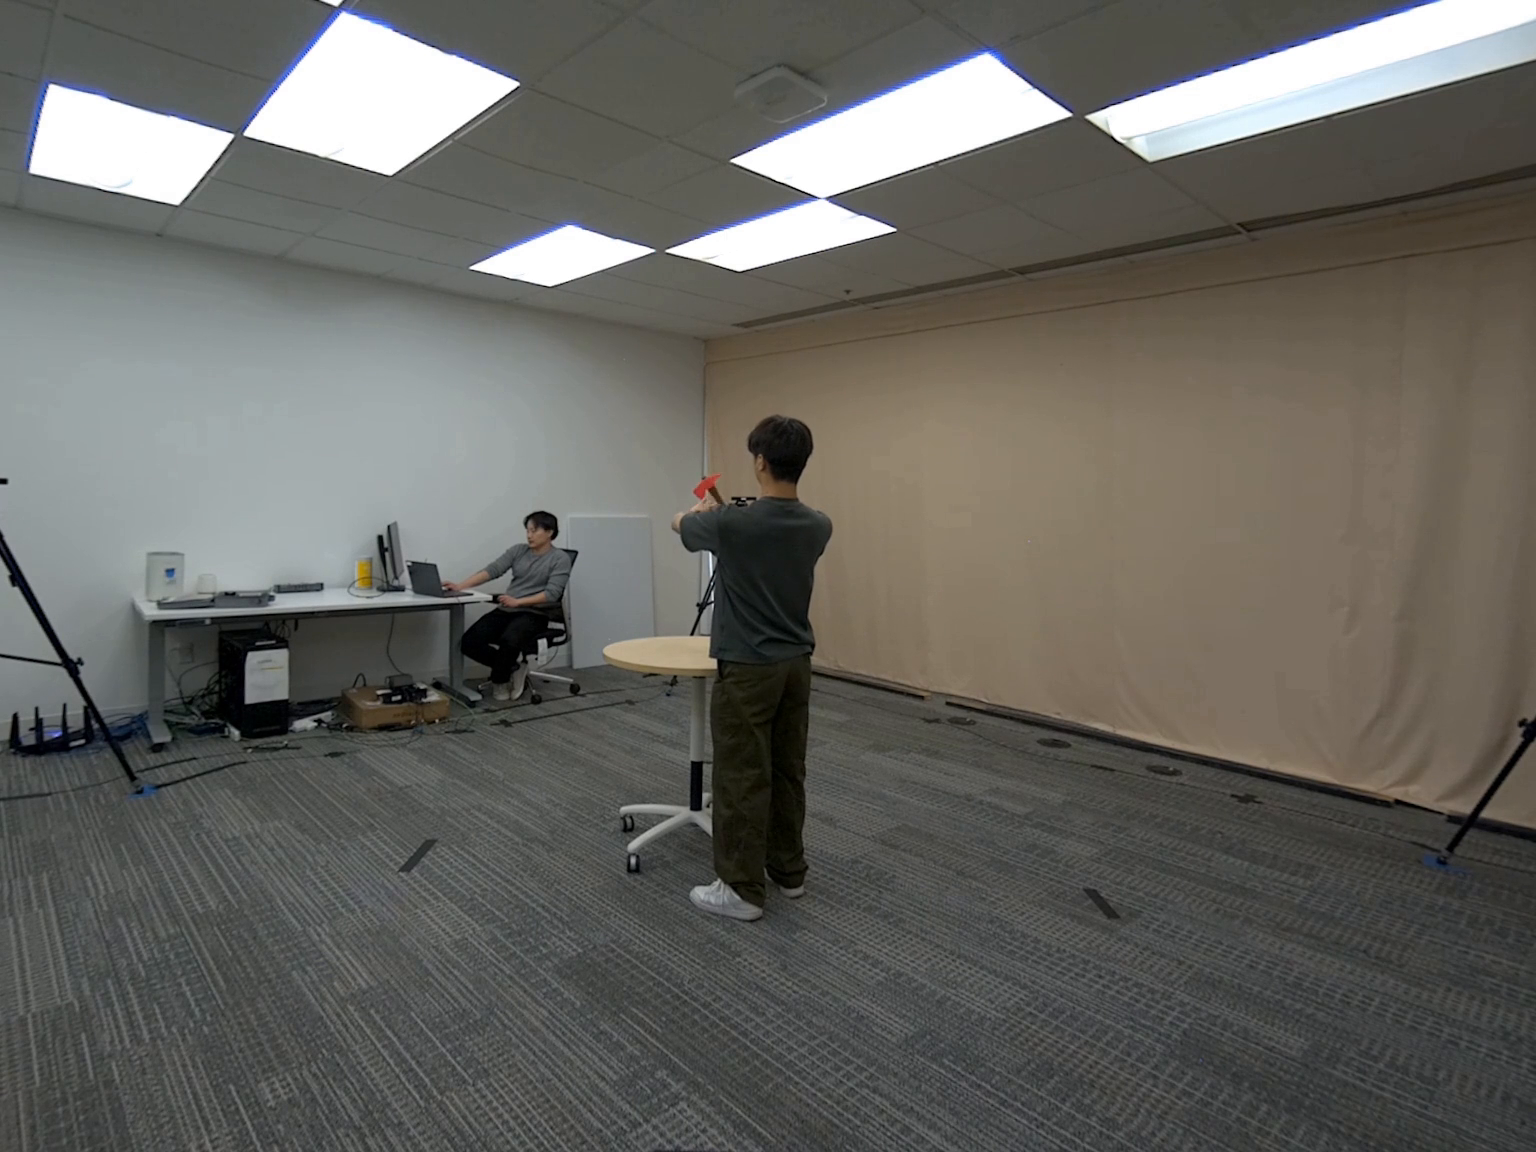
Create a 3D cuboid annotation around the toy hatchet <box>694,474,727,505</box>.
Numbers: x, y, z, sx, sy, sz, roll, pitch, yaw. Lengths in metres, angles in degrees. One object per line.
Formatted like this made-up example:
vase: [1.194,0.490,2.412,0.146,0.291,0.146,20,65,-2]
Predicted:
toy hatchet: [-0.218,-0.274,3.382,0.130,0.268,0.030,-14,6,-6]
